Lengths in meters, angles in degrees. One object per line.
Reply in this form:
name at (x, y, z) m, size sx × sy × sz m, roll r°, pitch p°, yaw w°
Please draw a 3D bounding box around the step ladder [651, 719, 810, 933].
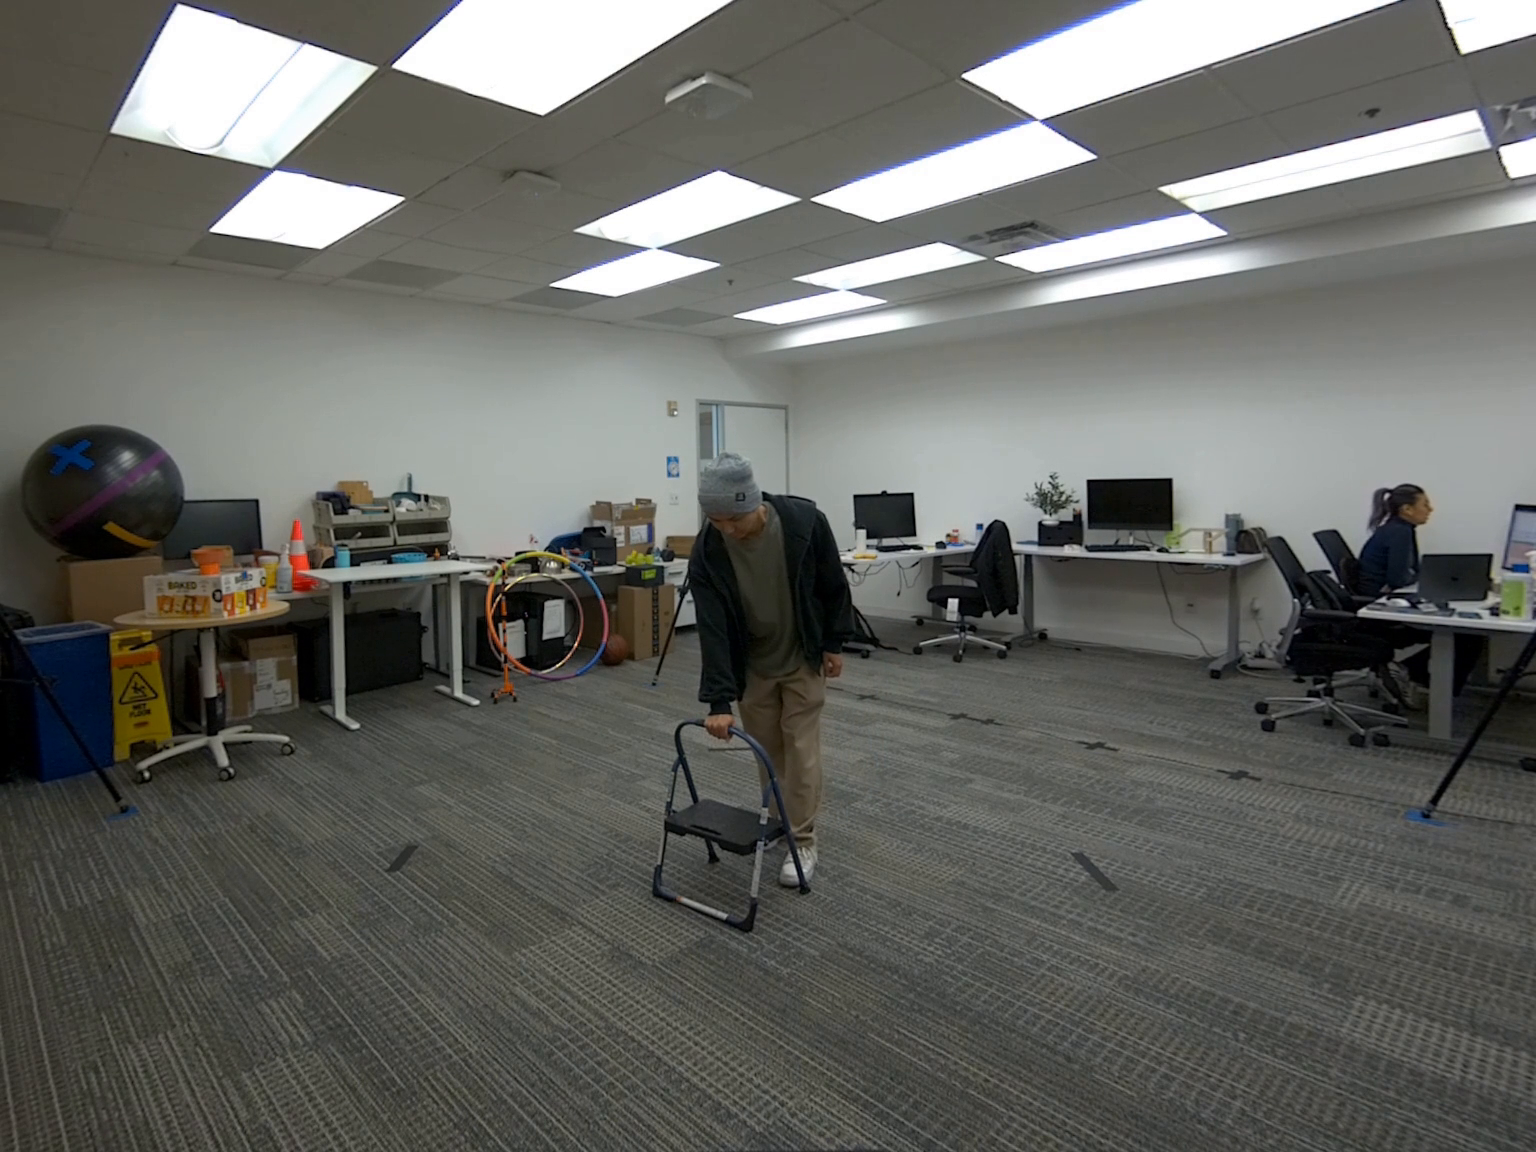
step ladder at (-0.132, 0.771, 2.866) m, size 0.443 × 0.604 × 0.340 m, roll 2°, pitch 5°, yaw 37°
